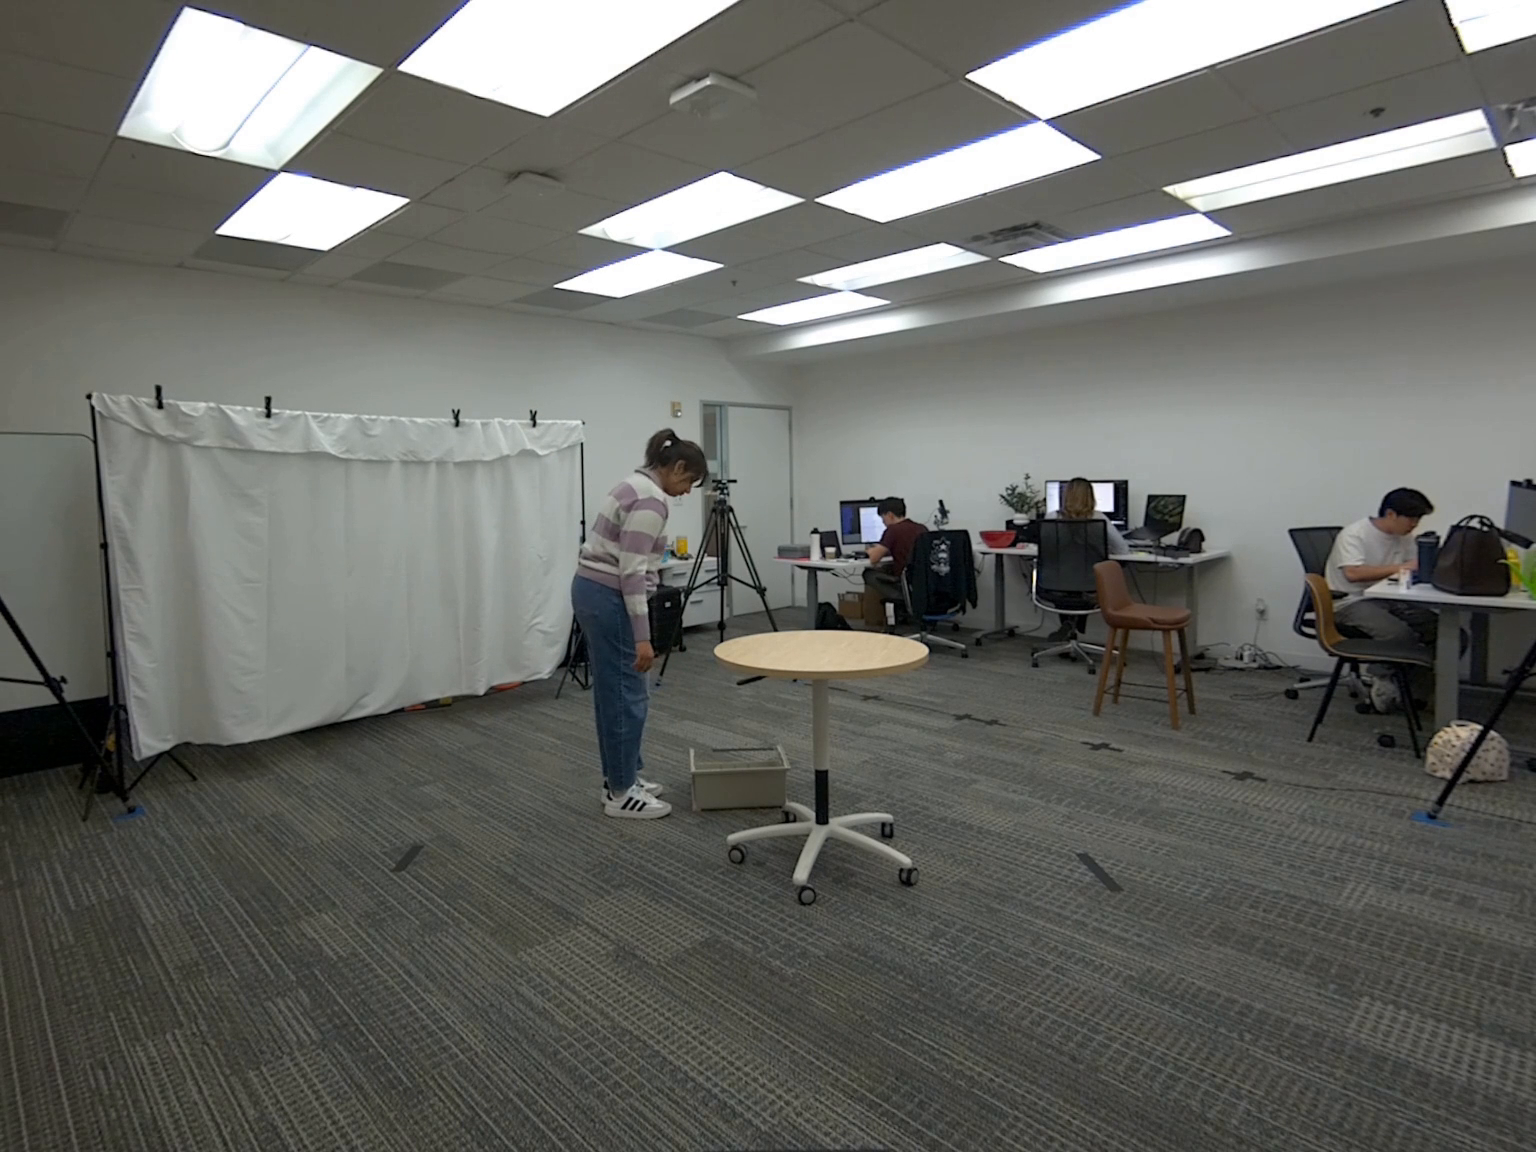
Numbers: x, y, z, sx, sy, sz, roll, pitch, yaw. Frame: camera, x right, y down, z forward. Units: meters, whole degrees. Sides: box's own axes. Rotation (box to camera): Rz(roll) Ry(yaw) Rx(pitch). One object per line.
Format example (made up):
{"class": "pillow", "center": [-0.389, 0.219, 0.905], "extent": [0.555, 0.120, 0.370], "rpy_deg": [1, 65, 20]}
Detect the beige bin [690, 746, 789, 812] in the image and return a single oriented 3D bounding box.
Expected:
{"class": "beige bin", "center": [-0.135, 0.881, 3.788], "extent": [0.421, 0.188, 0.381], "rpy_deg": [-1, 7, -5]}
